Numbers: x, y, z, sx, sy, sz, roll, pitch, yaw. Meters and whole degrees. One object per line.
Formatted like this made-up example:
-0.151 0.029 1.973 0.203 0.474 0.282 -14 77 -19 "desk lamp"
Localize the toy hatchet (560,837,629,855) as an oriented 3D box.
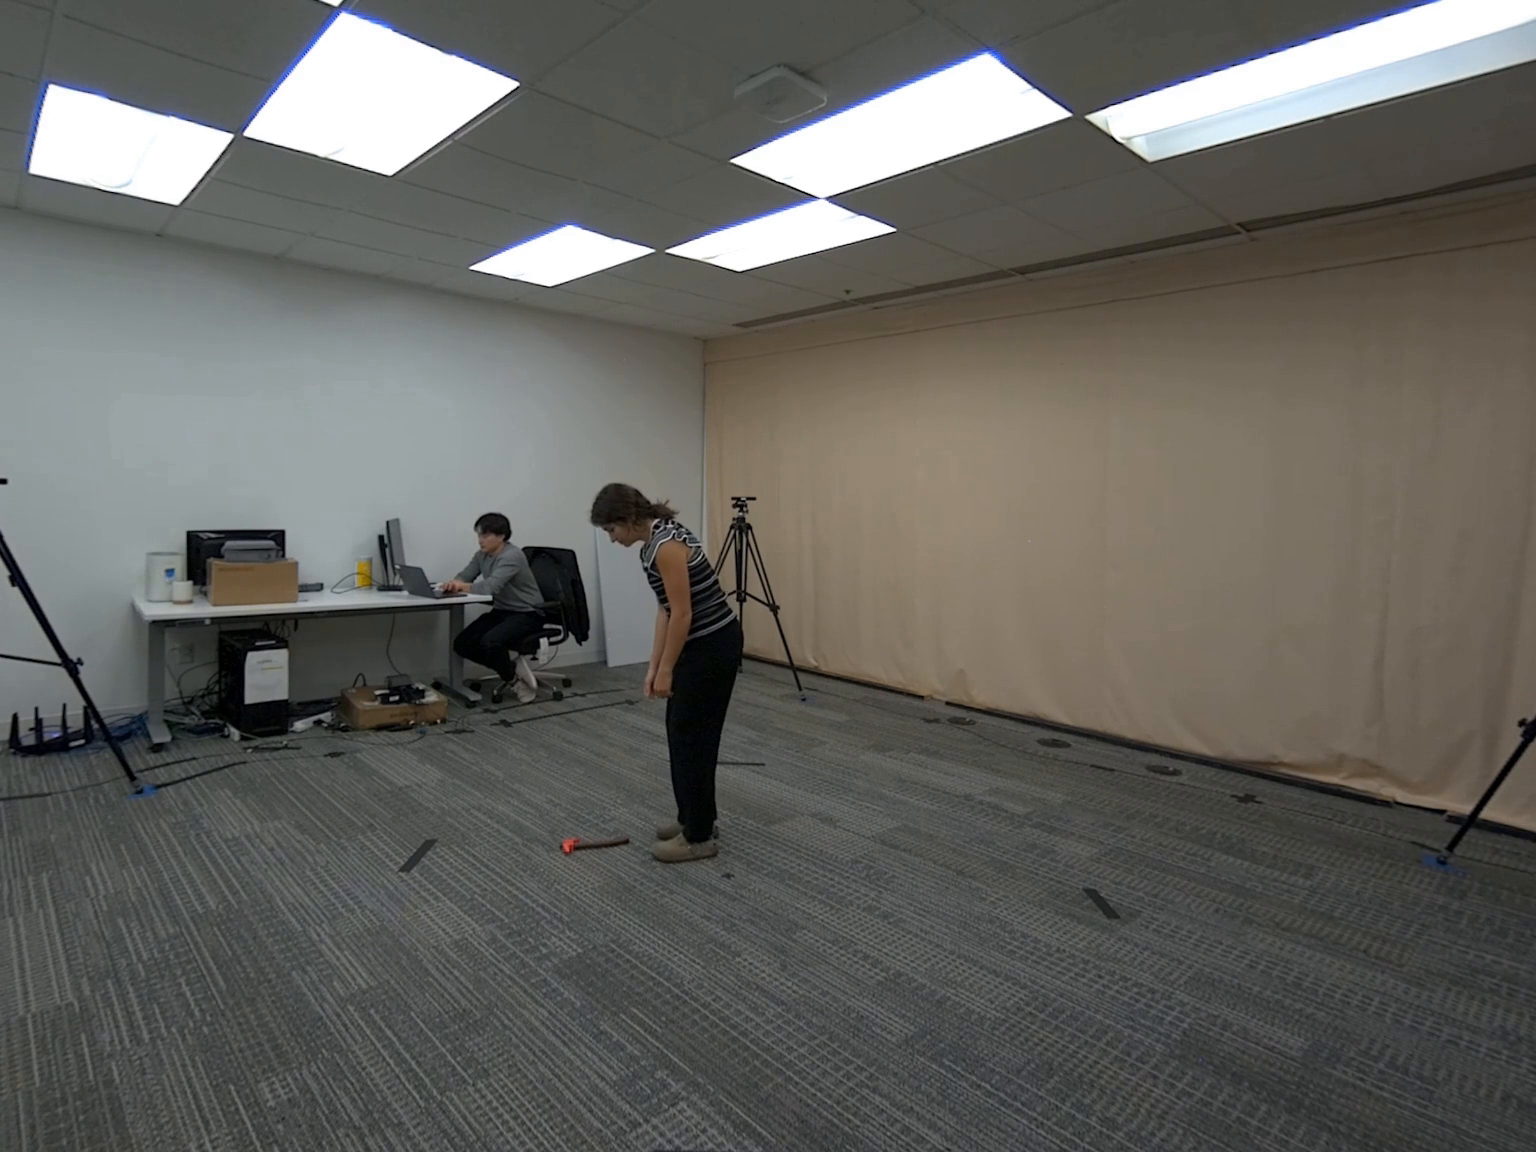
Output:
-0.701 1.052 3.354 0.264 0.029 0.134 1 2 -32 "toy hatchet"
